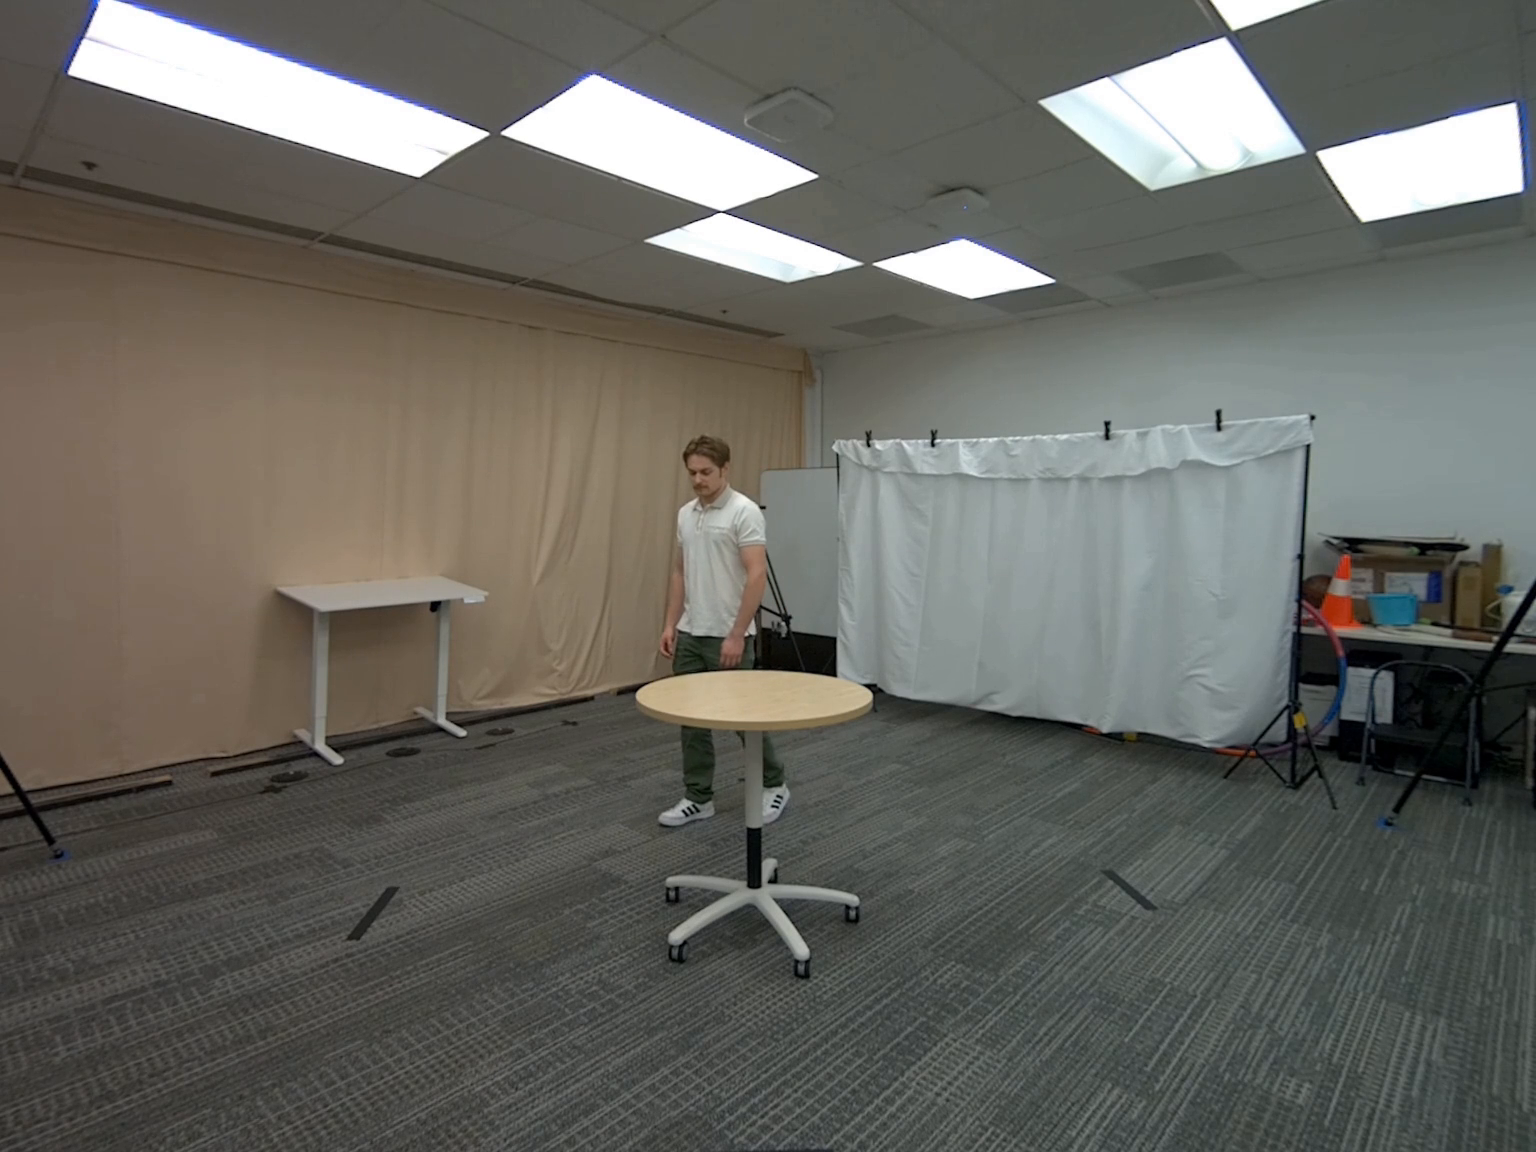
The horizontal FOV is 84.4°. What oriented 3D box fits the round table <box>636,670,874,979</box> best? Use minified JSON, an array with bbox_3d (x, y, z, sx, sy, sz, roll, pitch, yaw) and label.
[{"bbox_3d":[-0.038,0.769,2.750,0.784,0.785,0.787,-1,3,-2],"label":"round table"}]
